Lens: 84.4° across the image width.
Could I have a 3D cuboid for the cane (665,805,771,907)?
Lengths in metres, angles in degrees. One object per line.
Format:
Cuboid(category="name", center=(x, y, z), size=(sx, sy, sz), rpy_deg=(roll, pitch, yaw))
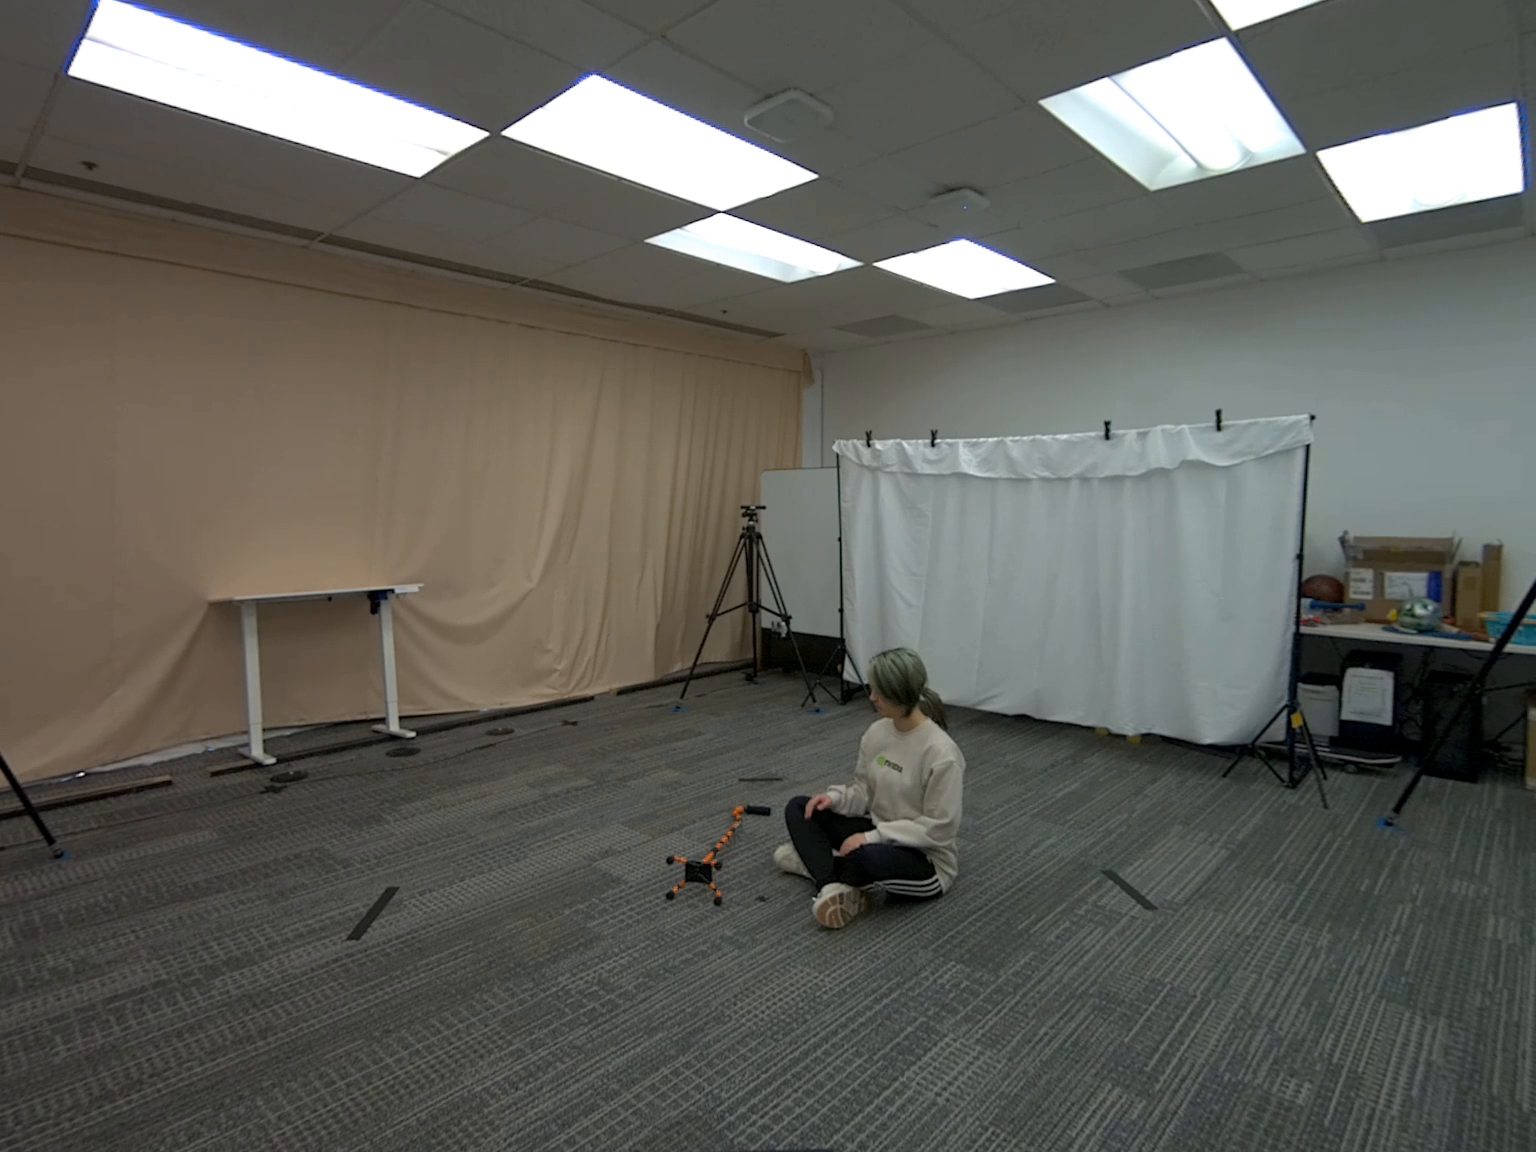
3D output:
Cuboid(category="cane", center=(-0.173, 1.063, 3.391), size=(0.209, 0.152, 0.894), rpy_deg=(-1, 0, 12))
